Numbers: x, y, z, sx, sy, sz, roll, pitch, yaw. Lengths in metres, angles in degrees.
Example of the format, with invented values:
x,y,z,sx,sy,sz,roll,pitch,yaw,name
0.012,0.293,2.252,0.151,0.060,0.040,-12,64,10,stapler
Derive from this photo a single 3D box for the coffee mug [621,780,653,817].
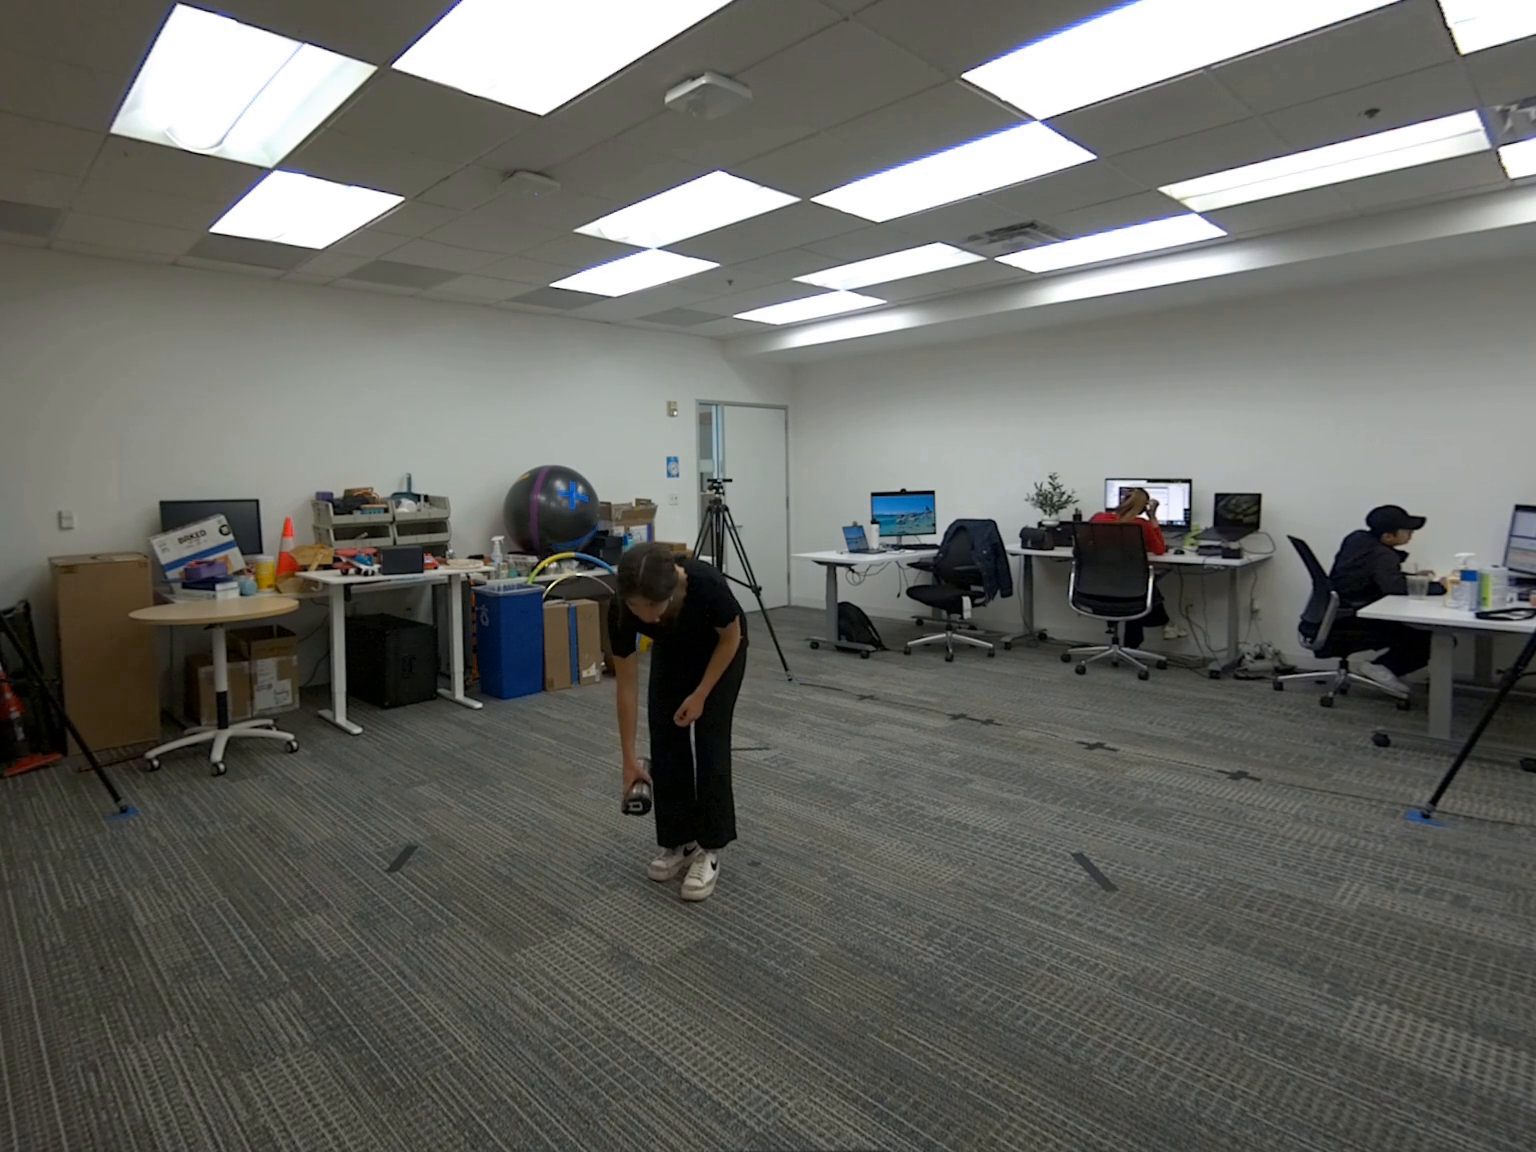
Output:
x,y,z,sx,sy,sz,roll,pitch,yaw,name
-0.455,0.725,2.911,0.122,0.085,0.208,-17,27,3,coffee mug
